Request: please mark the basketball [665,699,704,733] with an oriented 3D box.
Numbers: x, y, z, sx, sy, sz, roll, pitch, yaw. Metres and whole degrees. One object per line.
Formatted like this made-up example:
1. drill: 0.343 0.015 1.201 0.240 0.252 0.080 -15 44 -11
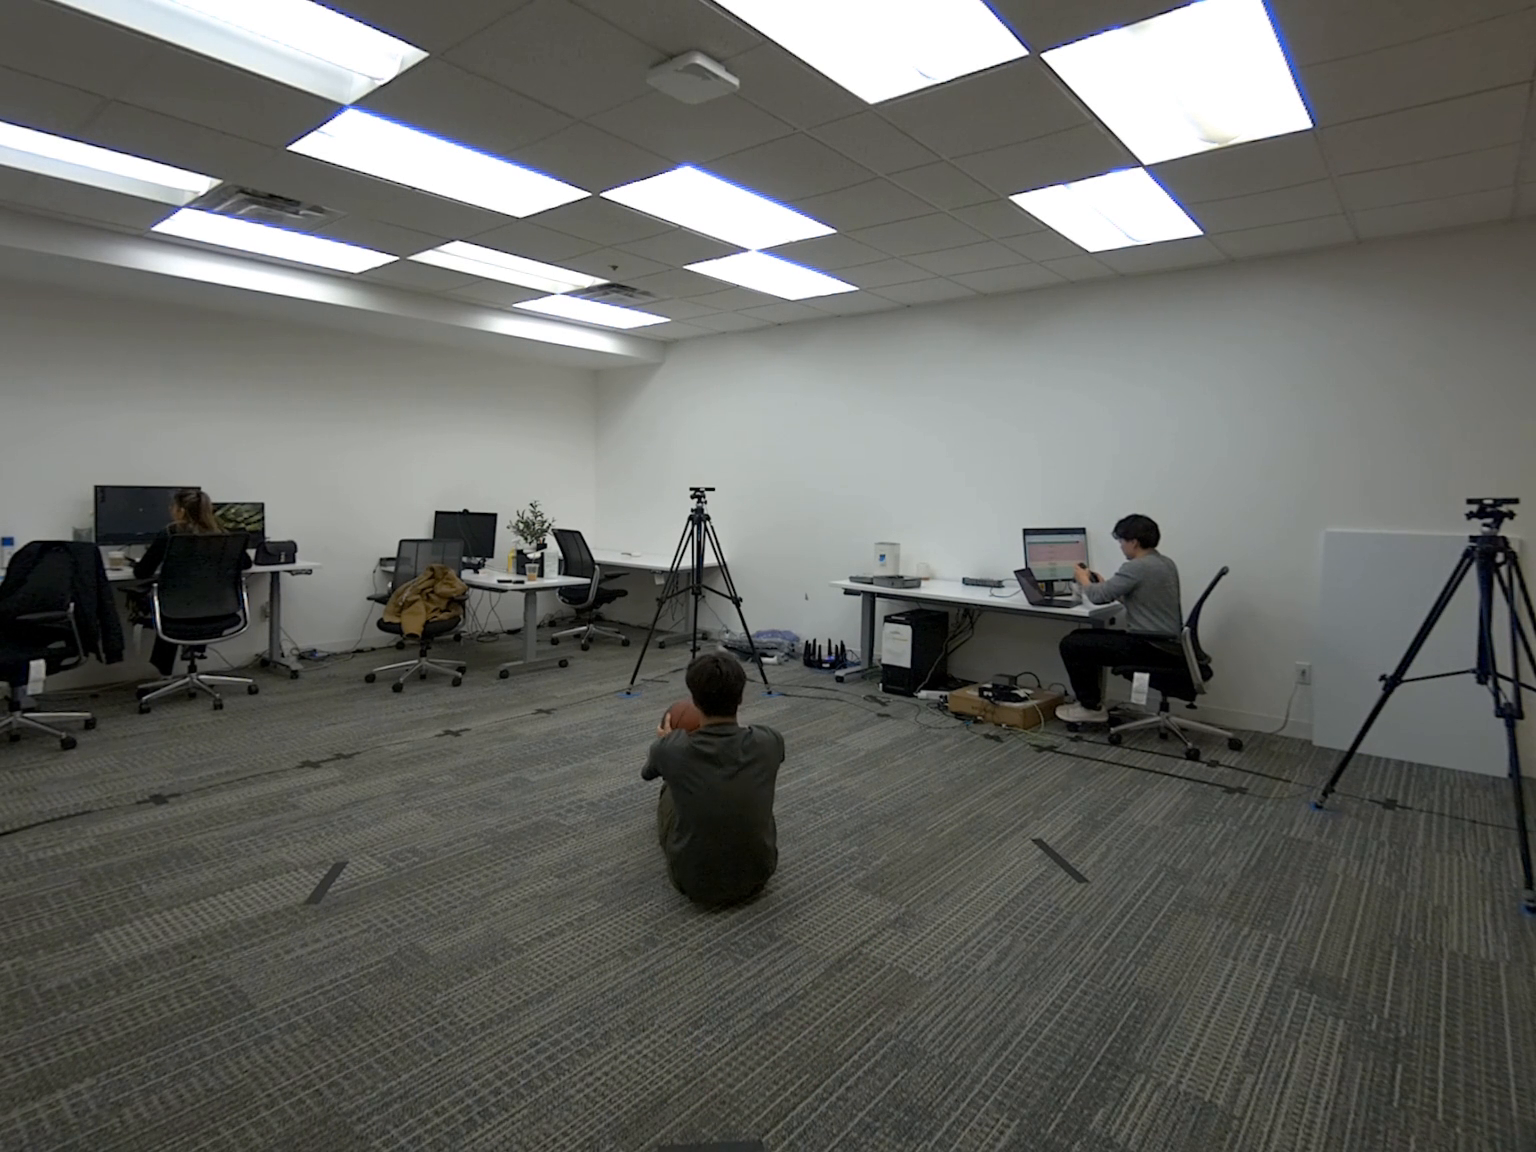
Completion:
1. basketball: -0.338 0.624 3.535 0.235 0.235 0.237 1 4 -2
